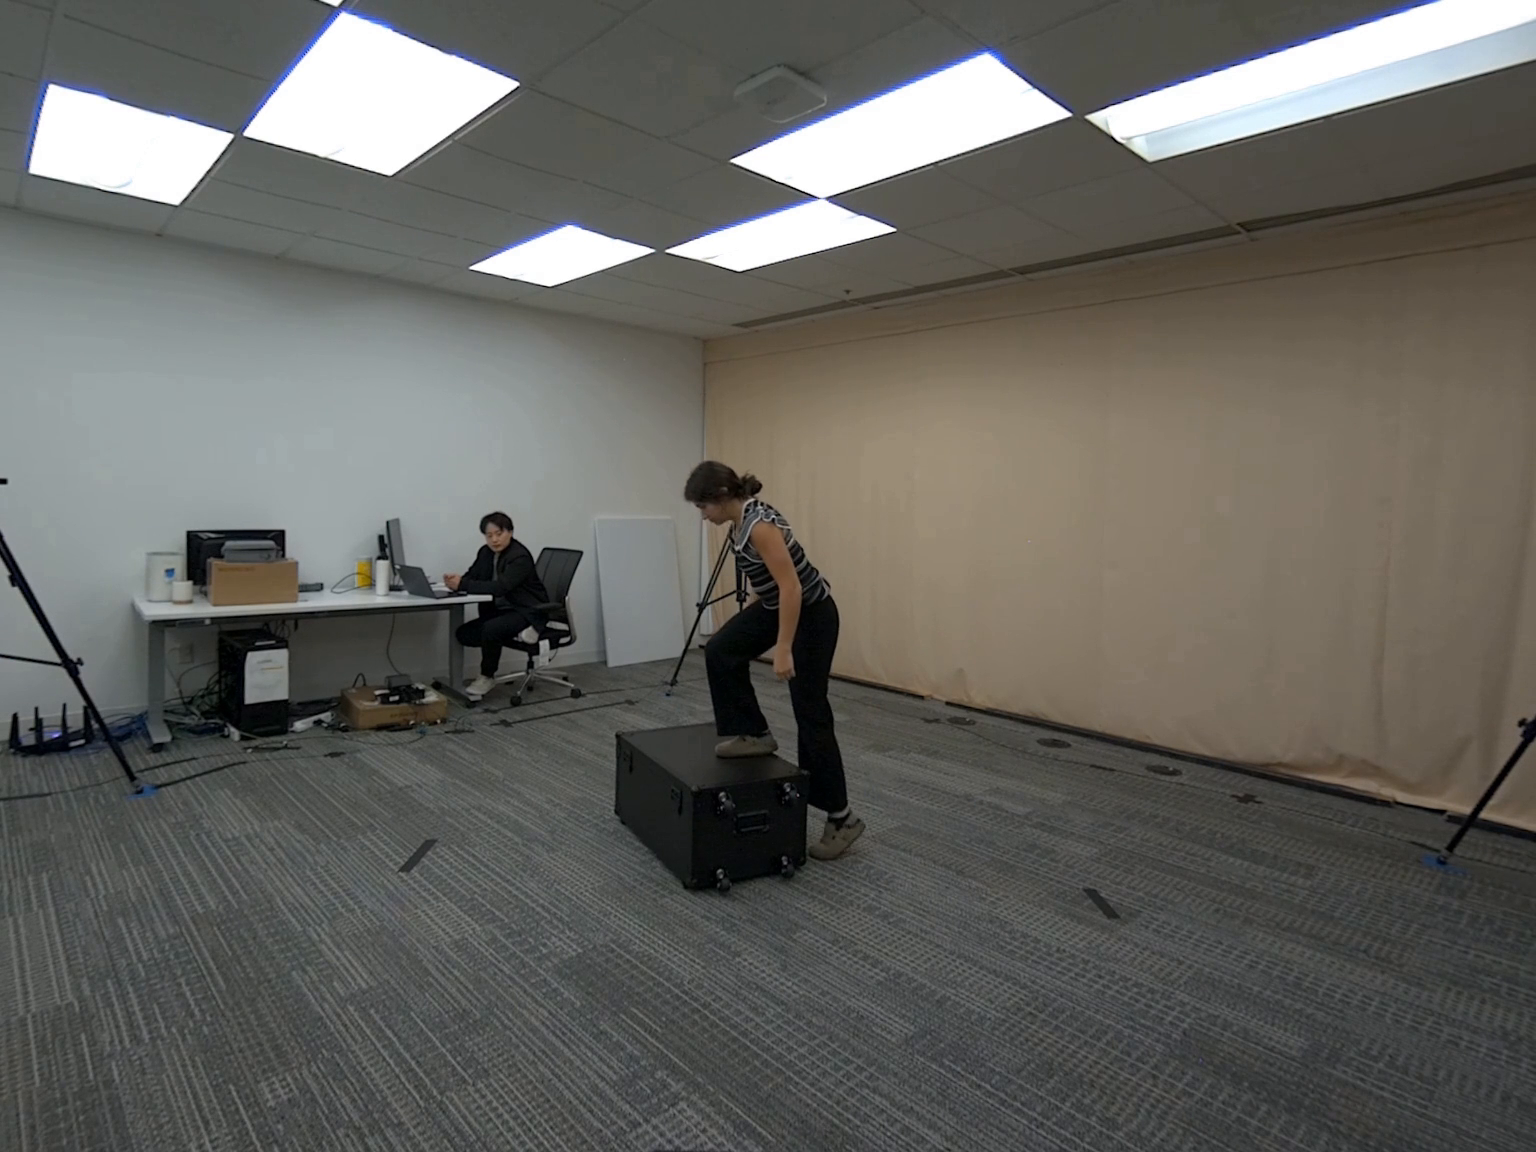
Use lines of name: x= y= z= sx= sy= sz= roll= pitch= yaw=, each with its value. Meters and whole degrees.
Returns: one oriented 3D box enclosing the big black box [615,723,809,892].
big black box: x=-0.246 y=0.894 z=3.355 sx=0.511 sy=0.395 sz=0.881 roll=-1 pitch=5 yaw=-29
